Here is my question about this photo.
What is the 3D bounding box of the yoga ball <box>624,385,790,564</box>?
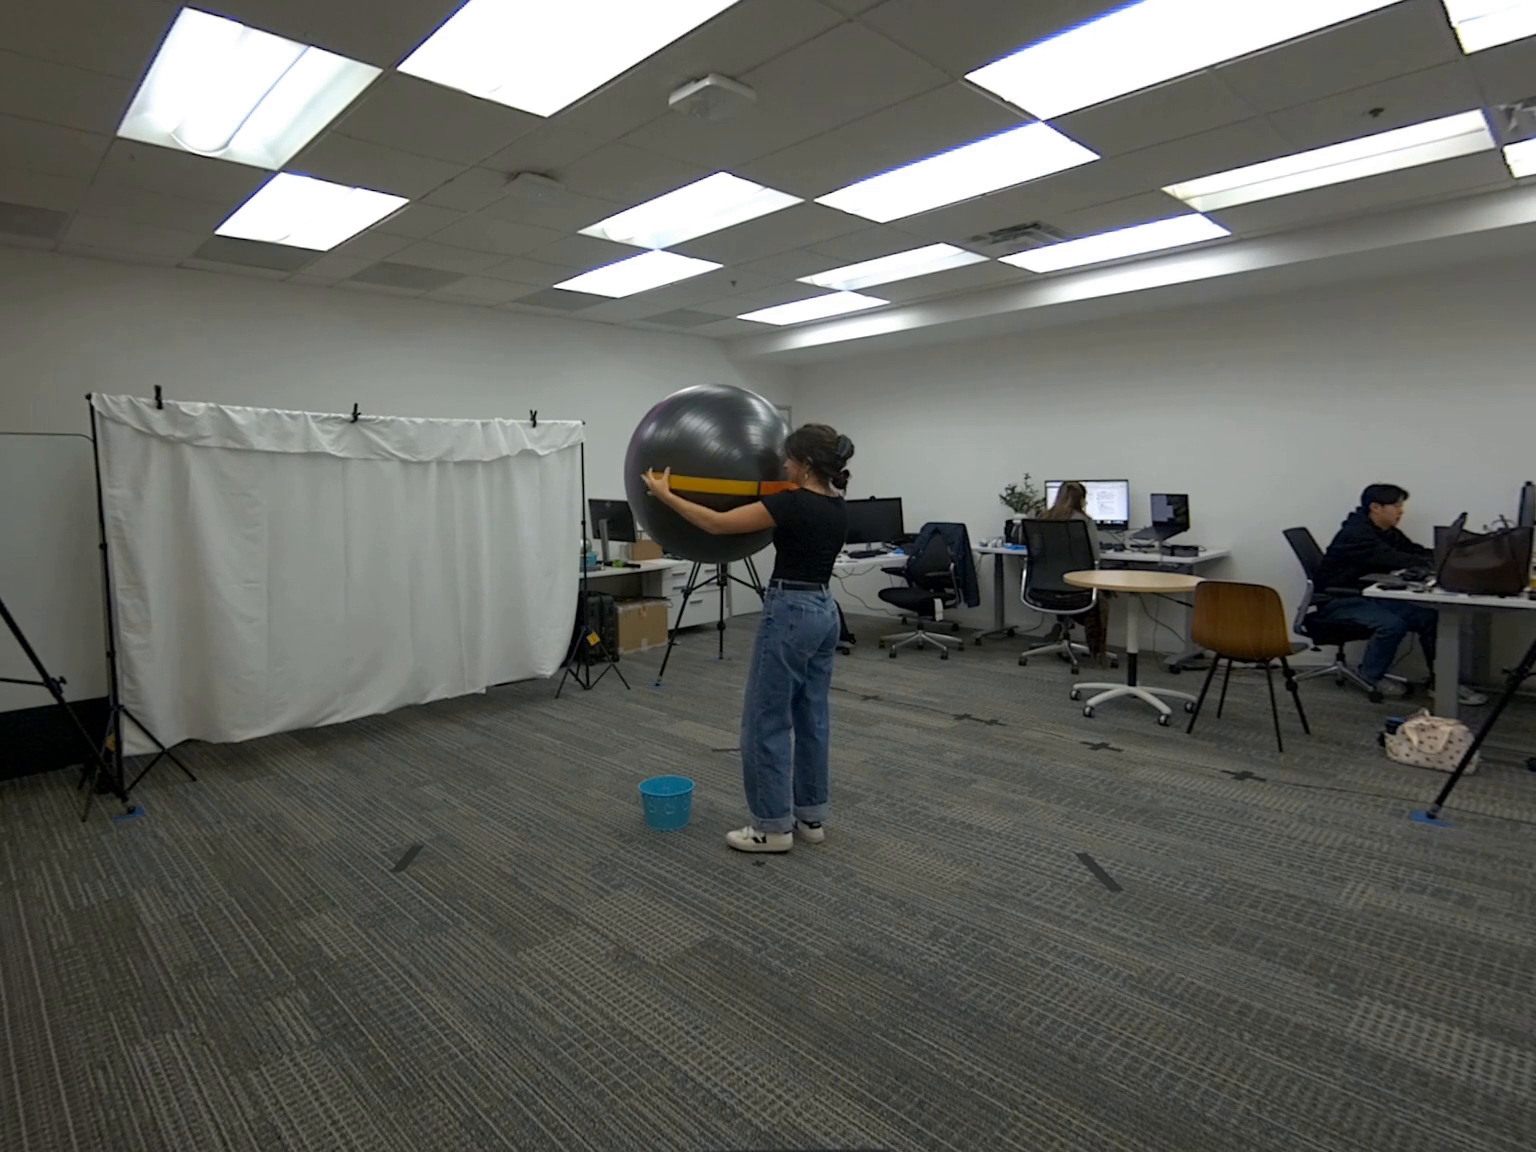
[{"bbox_3d":[-0.232,-0.423,3.618,0.757,0.755,0.762,-1,5,-2],"label":"yoga ball"}]
